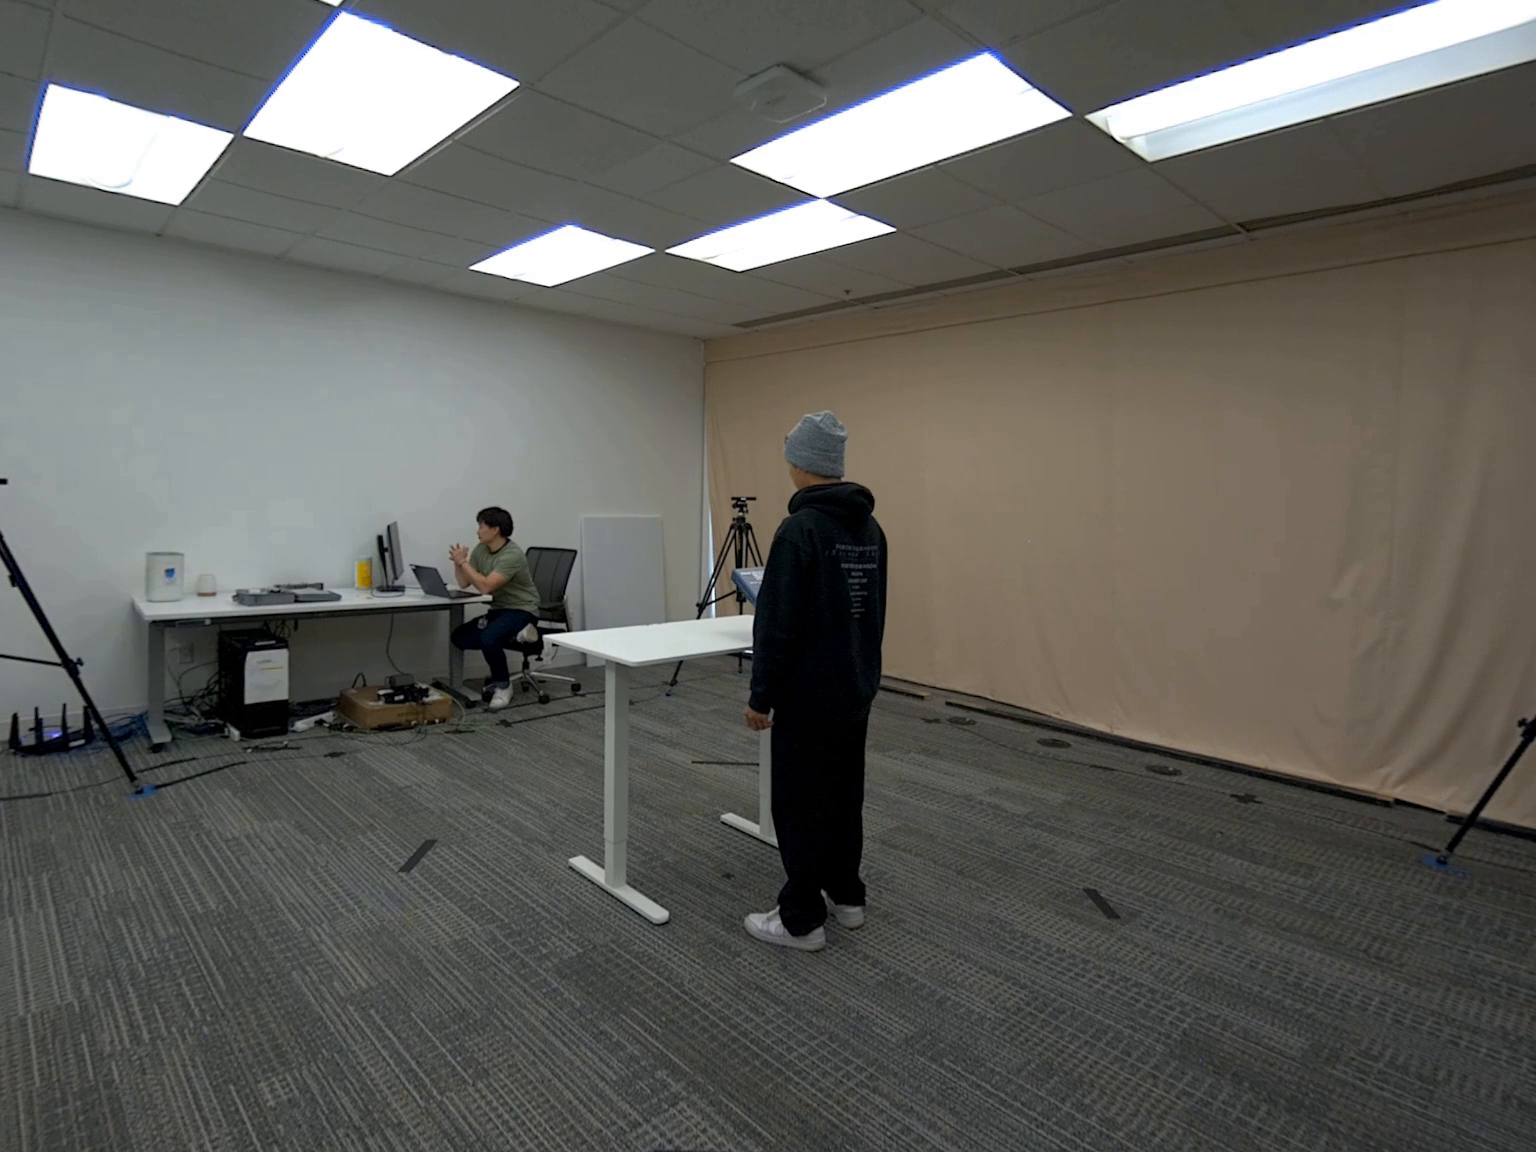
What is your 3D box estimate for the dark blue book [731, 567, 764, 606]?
[{"bbox_3d":[-0.012,0.048,3.123,0.160,0.044,0.253,-6,32,-28],"label":"dark blue book"}]
